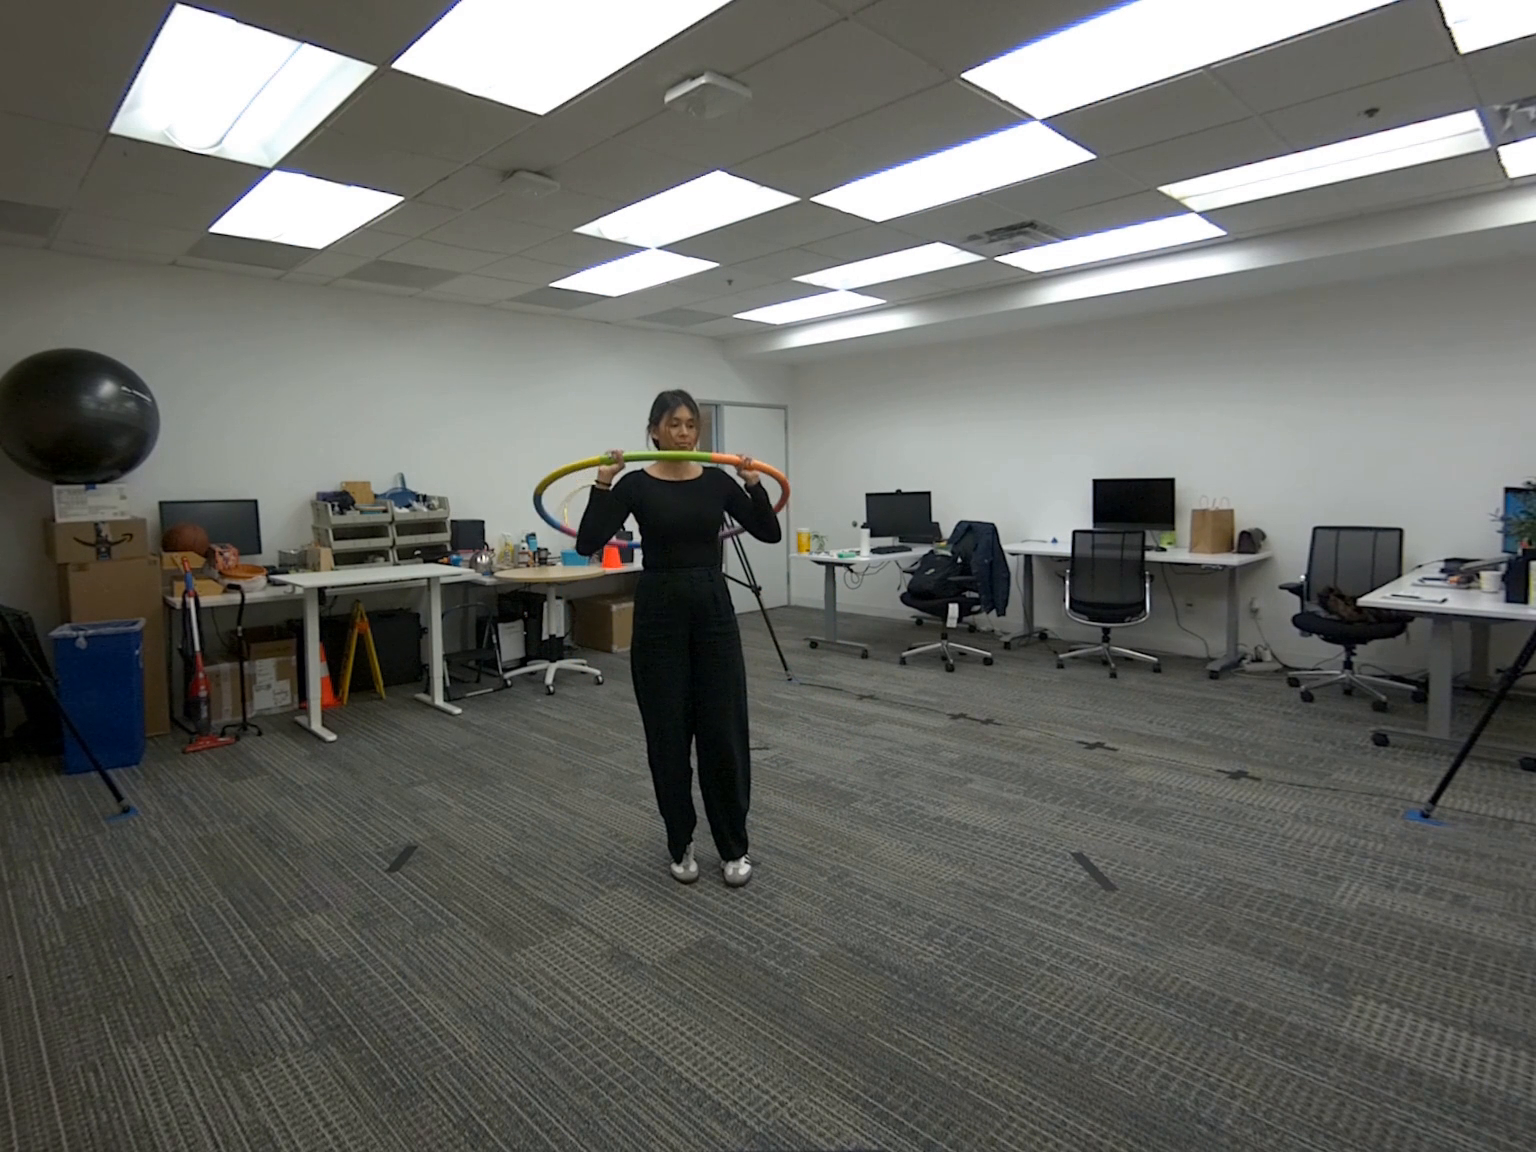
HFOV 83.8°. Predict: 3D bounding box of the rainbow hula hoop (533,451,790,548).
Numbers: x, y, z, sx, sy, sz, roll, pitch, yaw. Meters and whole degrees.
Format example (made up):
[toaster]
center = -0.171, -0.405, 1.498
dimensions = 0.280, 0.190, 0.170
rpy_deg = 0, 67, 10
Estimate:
[rainbow hula hoop]
center = -0.403, -0.272, 3.302
dimensions = 0.977, 0.036, 0.964
rpy_deg = -3, -16, -3
